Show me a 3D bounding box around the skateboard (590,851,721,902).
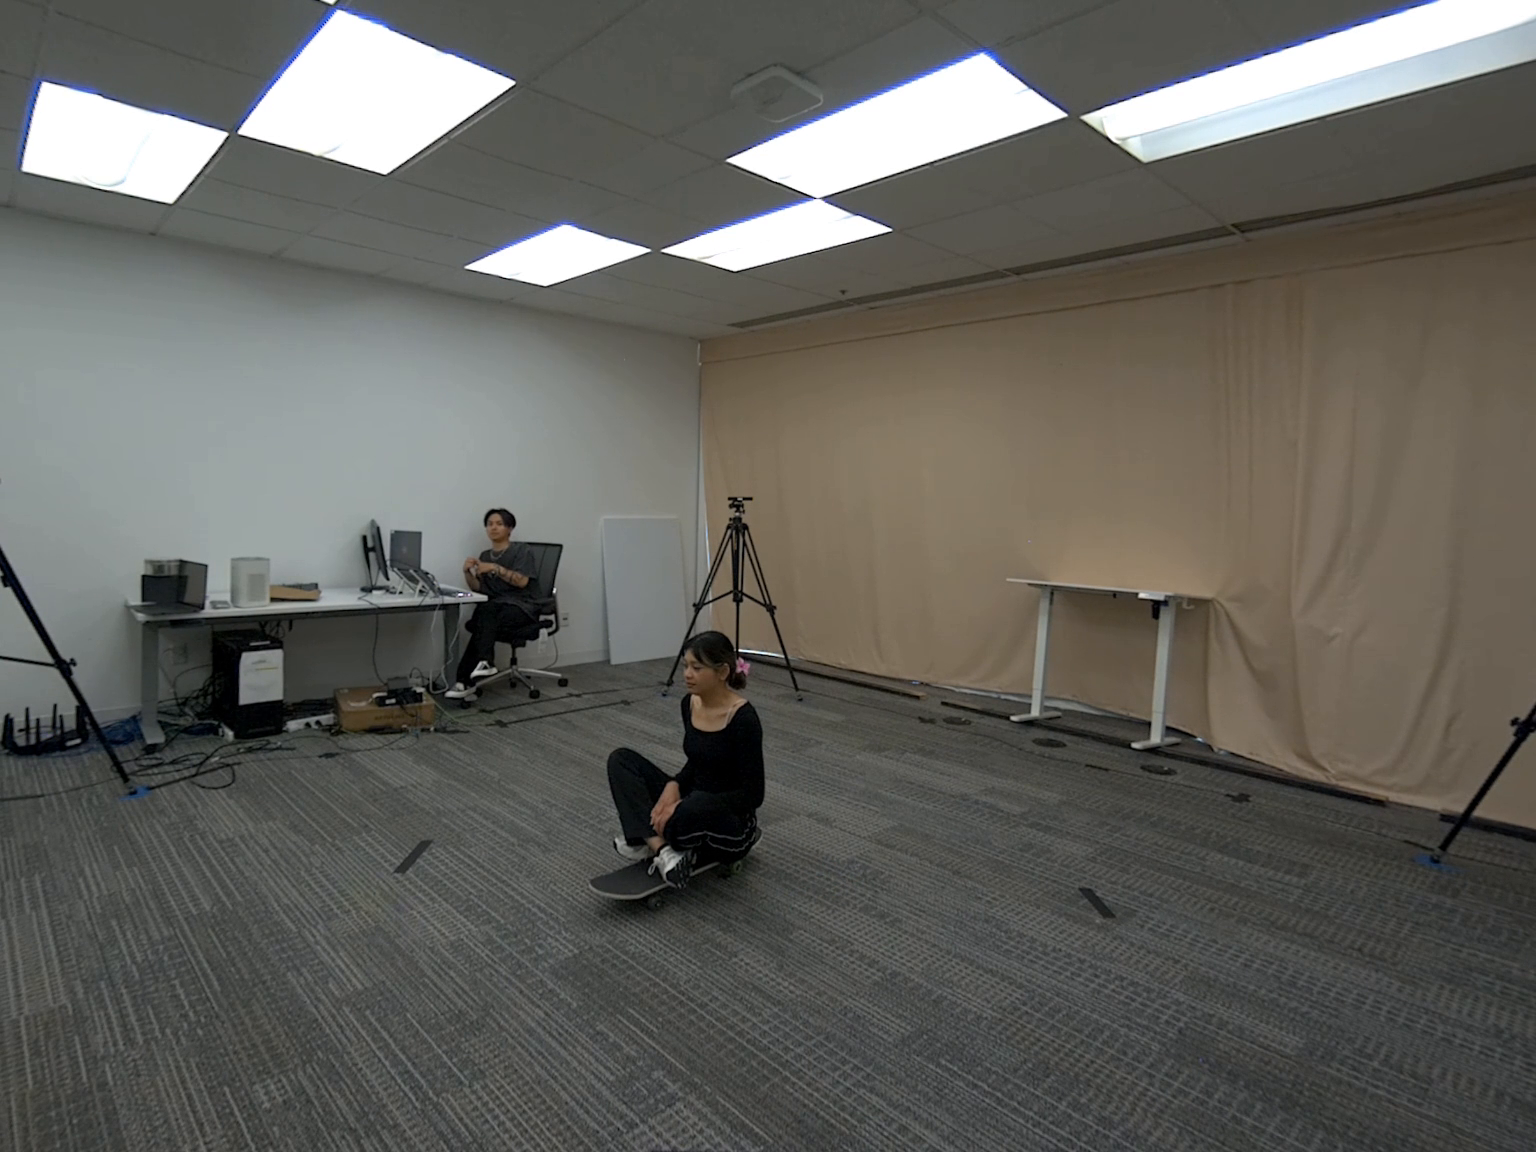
[{"bbox_3d":[-0.321,1.050,3.023,0.198,0.110,0.767,5,5,39],"label":"skateboard"}]
